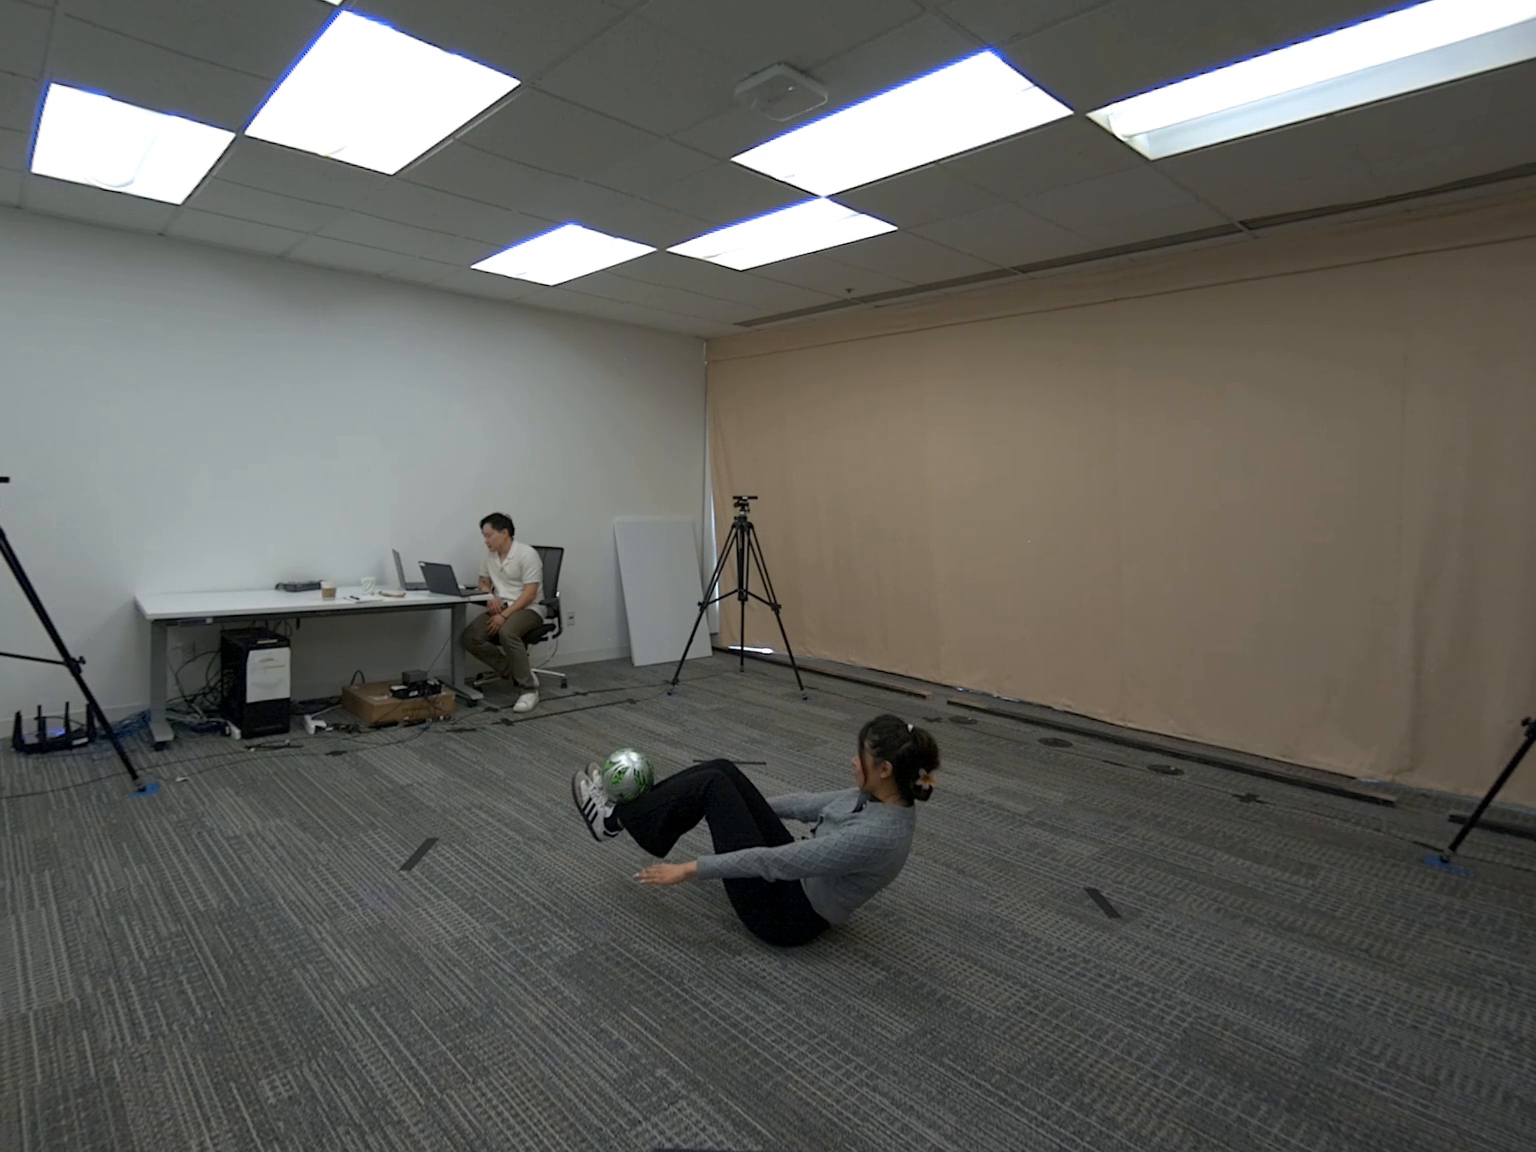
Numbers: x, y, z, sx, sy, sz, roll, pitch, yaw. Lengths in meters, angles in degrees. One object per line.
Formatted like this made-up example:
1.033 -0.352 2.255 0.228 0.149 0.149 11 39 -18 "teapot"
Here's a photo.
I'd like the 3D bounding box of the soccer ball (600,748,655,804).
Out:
-0.500 0.697 2.913 0.187 0.187 0.188 1 4 -1 "soccer ball"
